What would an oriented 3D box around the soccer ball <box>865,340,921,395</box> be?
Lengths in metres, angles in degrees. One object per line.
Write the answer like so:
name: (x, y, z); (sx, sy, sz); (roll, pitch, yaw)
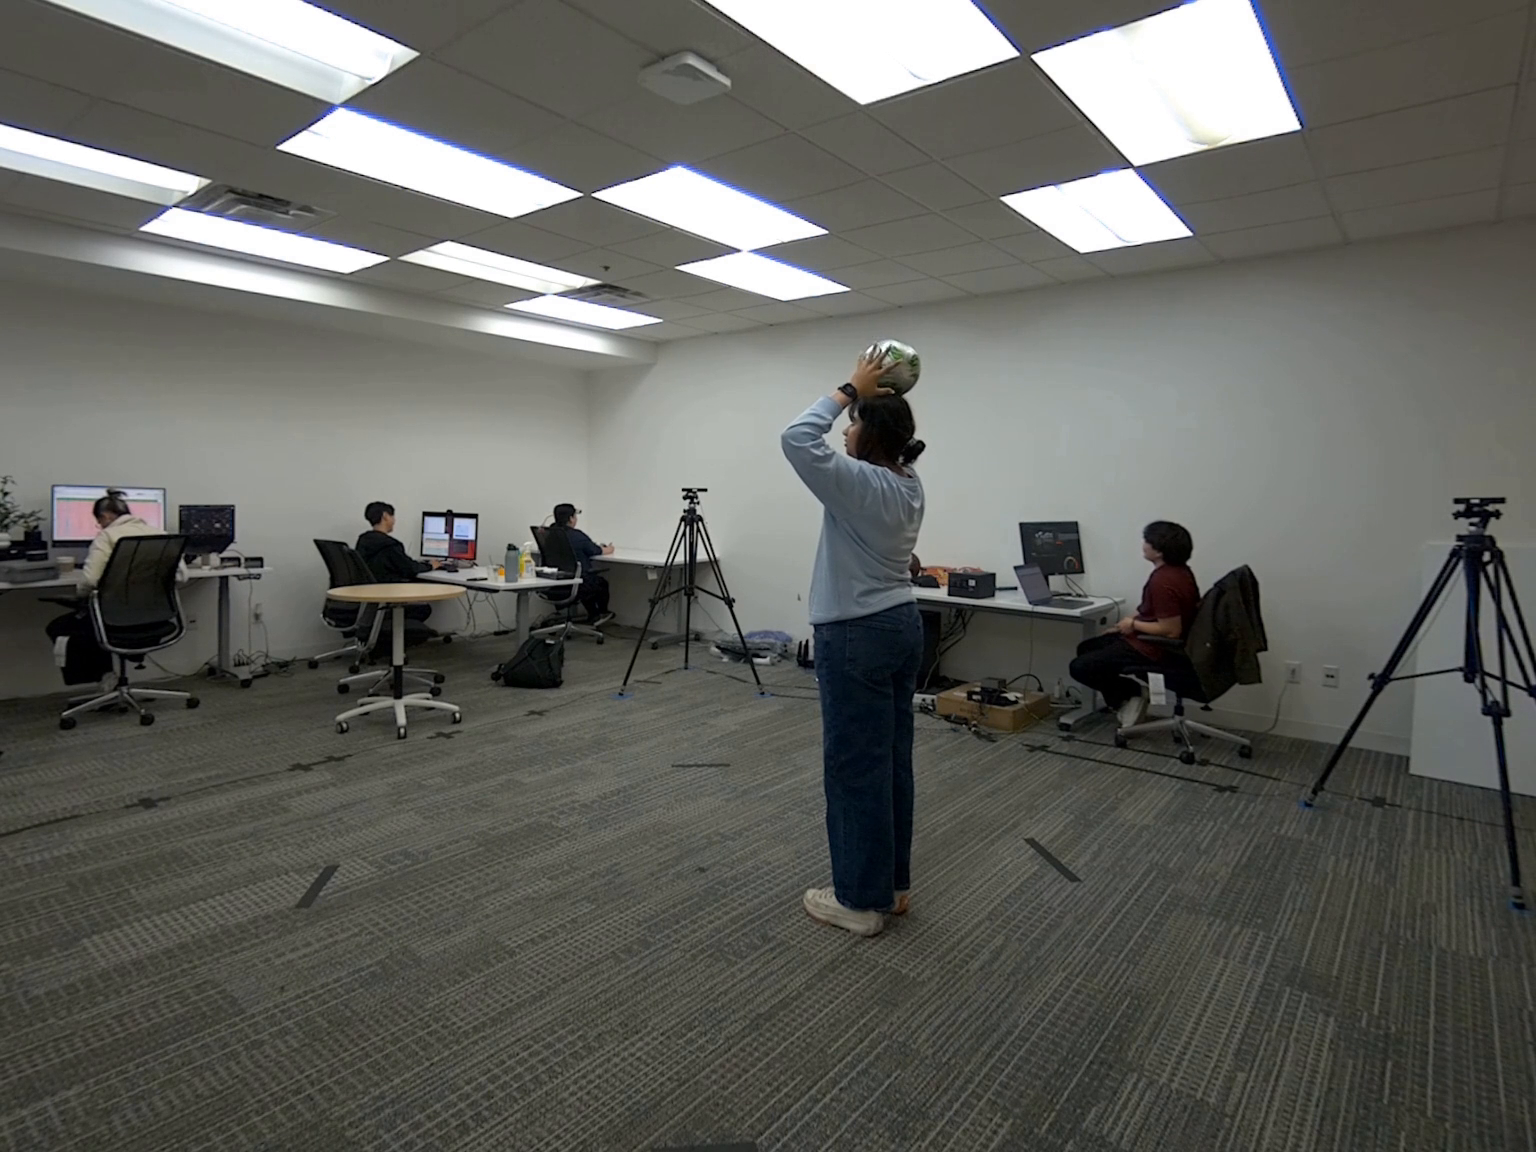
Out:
soccer ball: (0.387, -0.667, 2.733); (0.187, 0.187, 0.188); (1, 4, -2)
